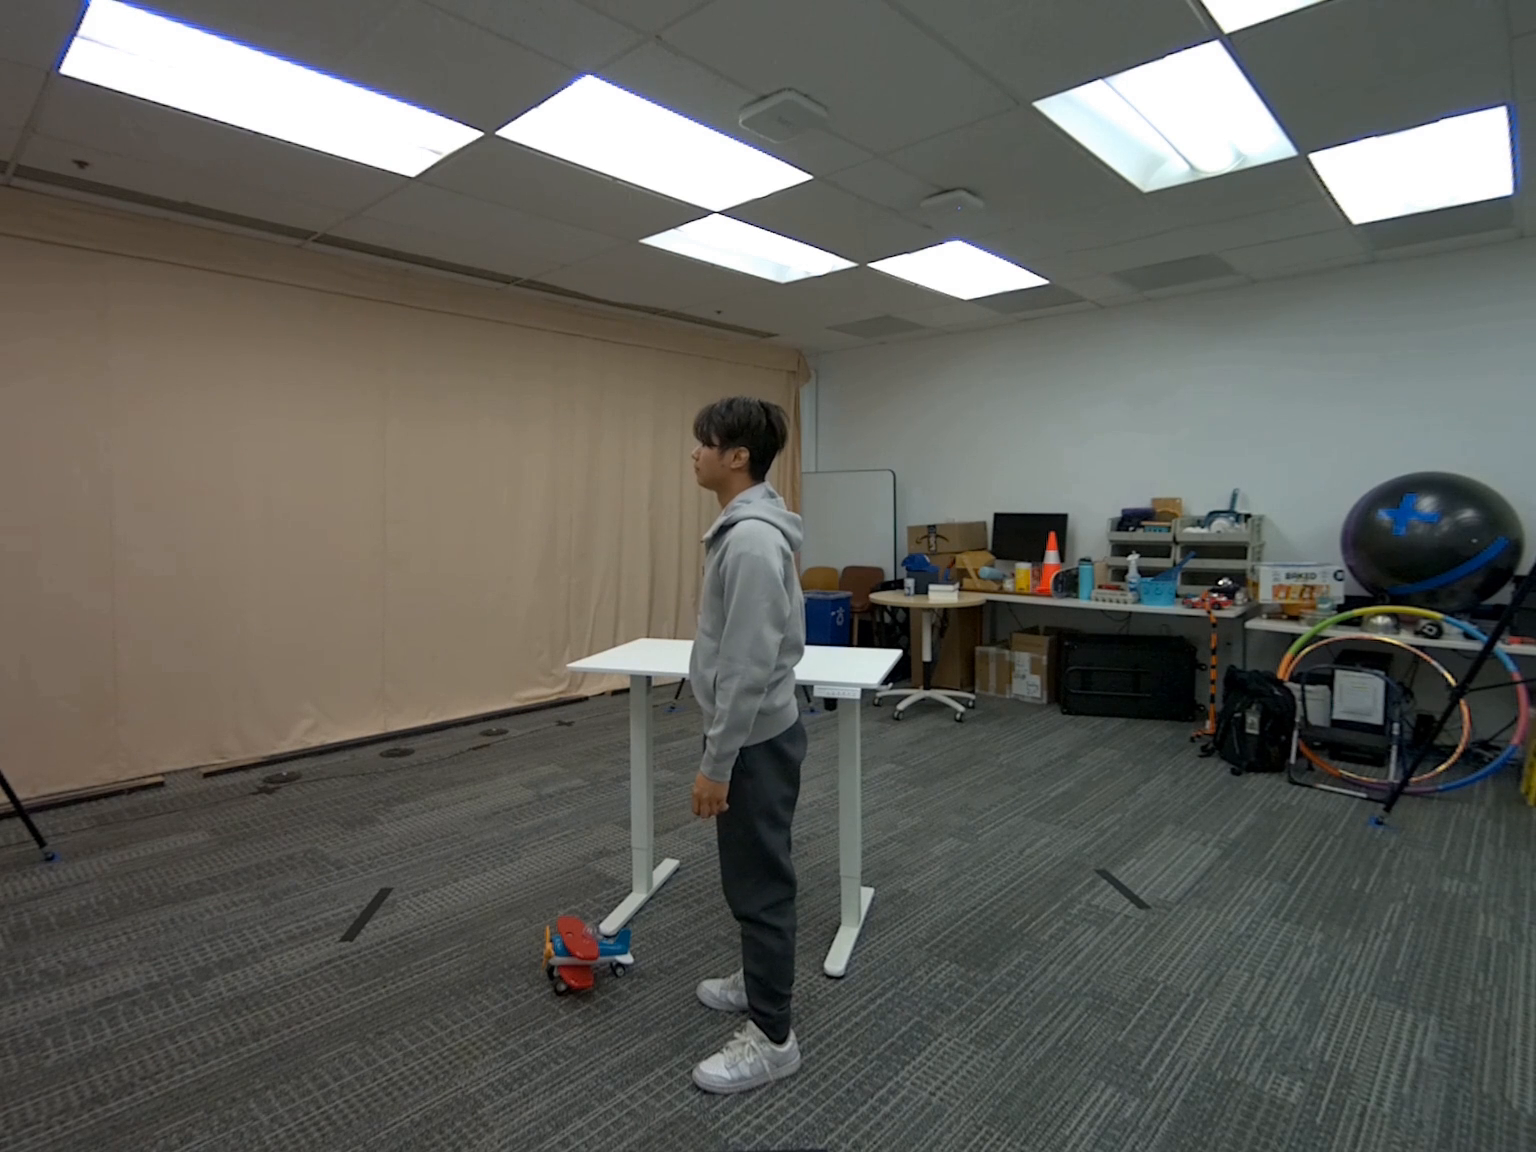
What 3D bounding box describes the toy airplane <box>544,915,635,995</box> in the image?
[{"bbox_3d":[-0.546,1.113,2.491,0.259,0.156,0.252,4,7,37],"label":"toy airplane"}]
